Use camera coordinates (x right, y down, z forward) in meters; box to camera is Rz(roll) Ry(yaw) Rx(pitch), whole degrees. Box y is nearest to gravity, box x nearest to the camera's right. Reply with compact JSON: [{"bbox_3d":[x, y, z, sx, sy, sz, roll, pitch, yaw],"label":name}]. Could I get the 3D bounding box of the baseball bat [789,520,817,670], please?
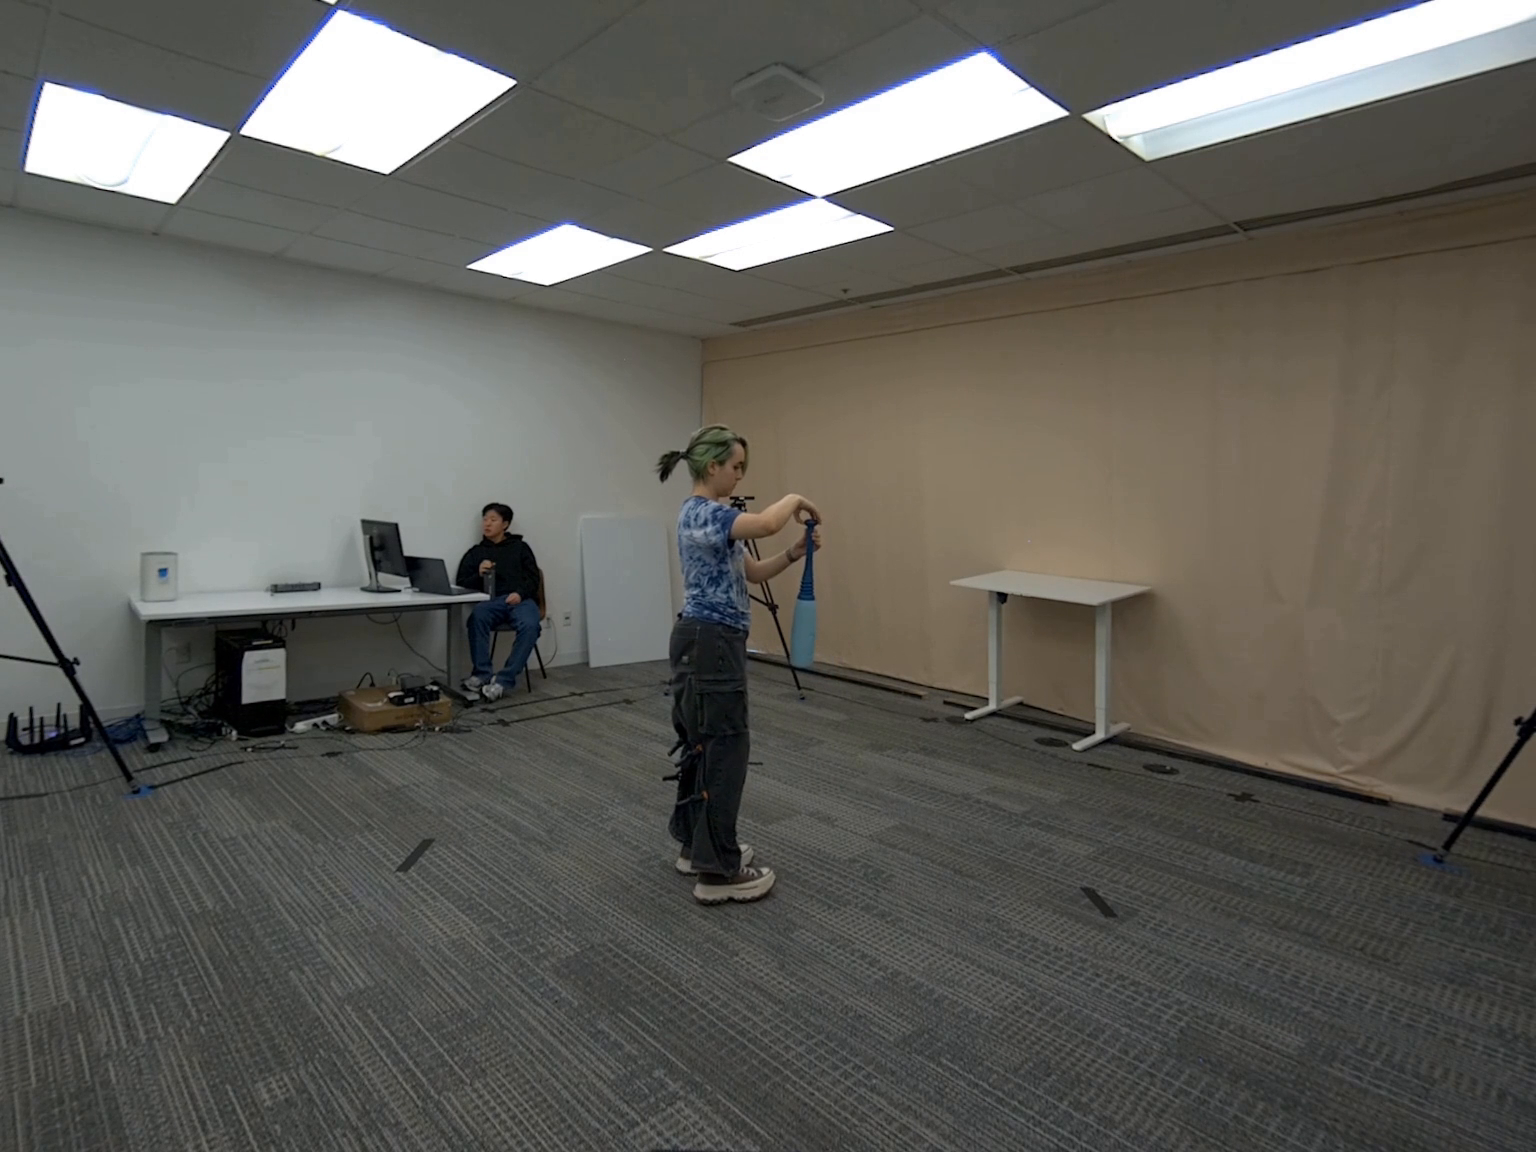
[{"bbox_3d":[0.127,0.057,3.052,0.089,0.540,0.089,3,8,-2],"label":"baseball bat"}]
